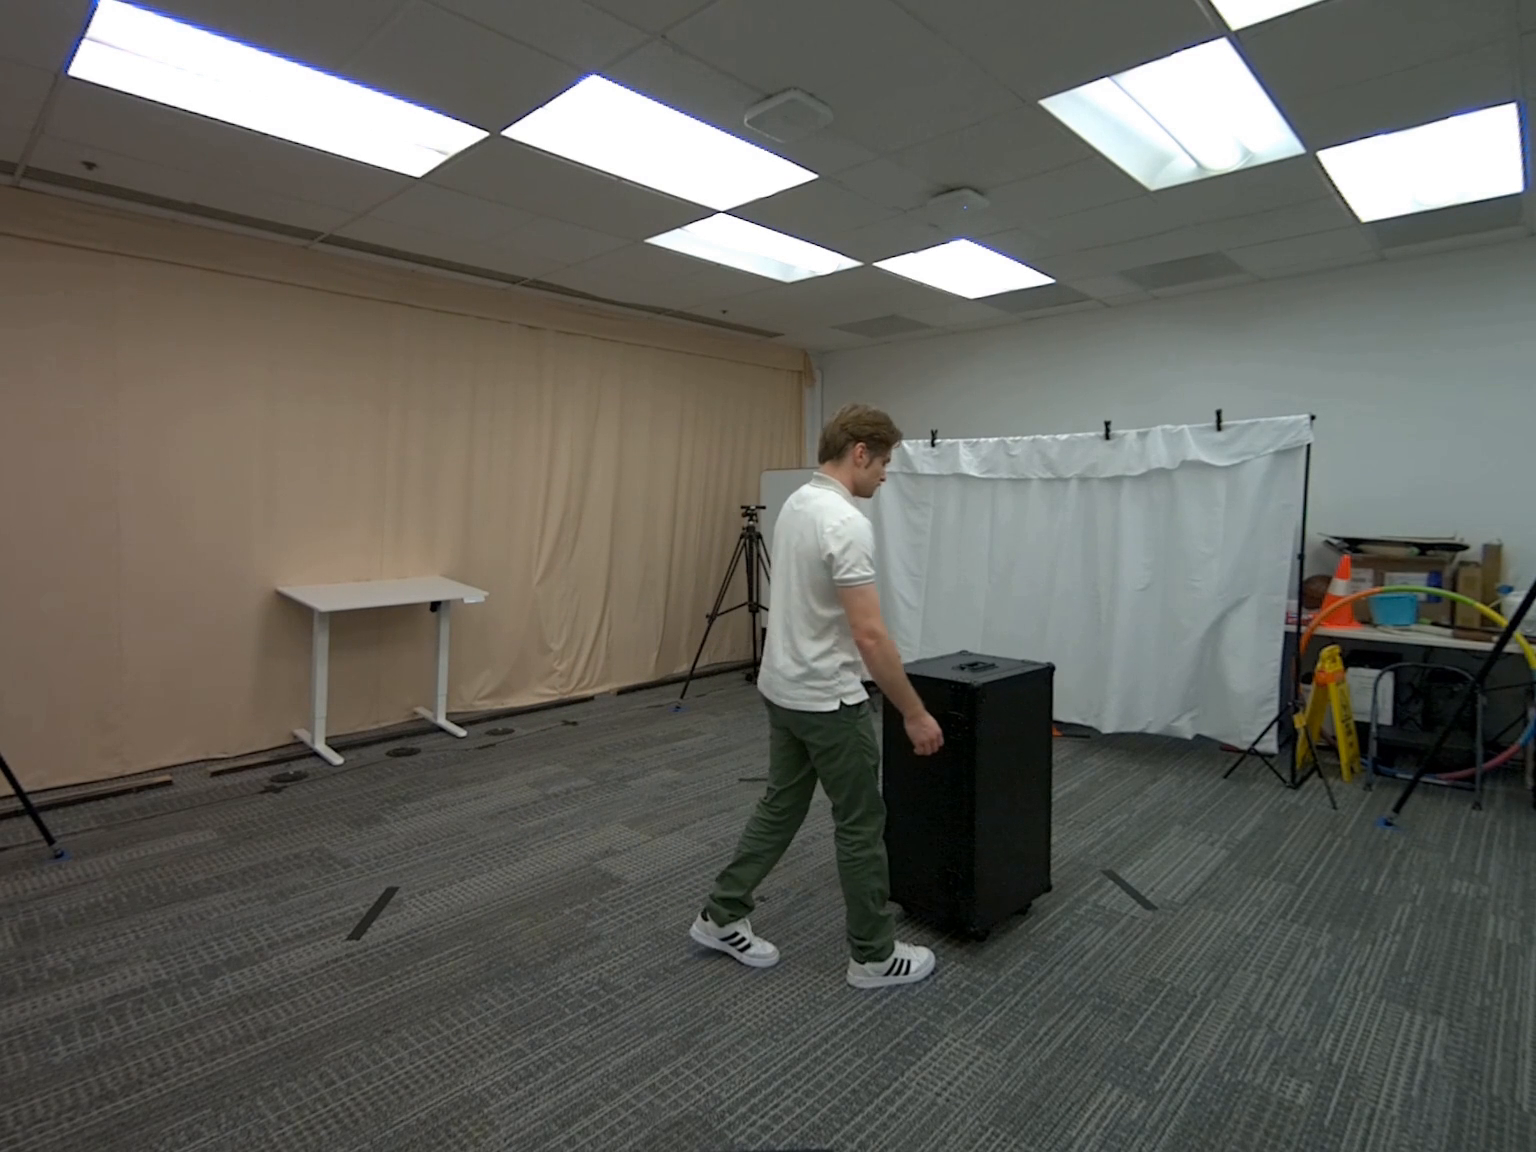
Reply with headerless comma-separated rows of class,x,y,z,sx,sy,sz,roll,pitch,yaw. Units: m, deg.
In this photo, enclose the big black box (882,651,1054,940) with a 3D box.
big black box,0.676,0.734,2.845,0.507,0.867,0.398,-3,4,-43
